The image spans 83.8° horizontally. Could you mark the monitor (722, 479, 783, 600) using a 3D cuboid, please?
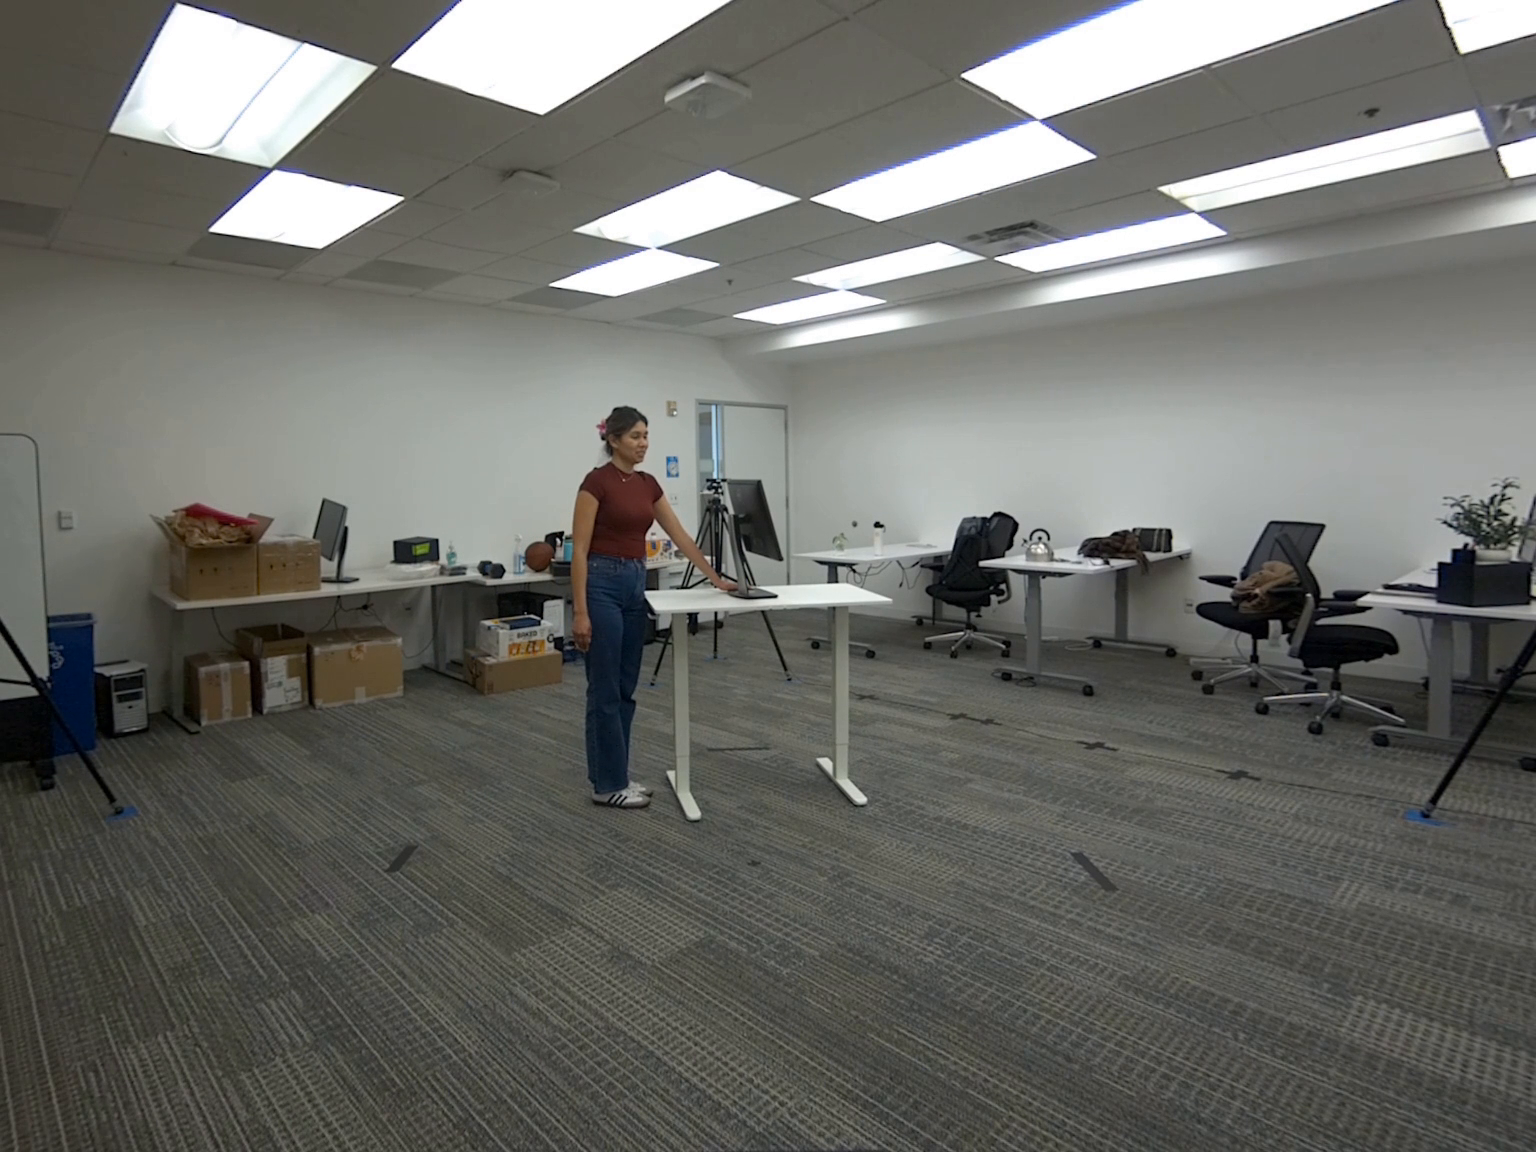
[{"bbox_3d":[-0.098,-0.169,3.782,0.184,0.520,0.550,-4,7,-18],"label":"monitor"}]
